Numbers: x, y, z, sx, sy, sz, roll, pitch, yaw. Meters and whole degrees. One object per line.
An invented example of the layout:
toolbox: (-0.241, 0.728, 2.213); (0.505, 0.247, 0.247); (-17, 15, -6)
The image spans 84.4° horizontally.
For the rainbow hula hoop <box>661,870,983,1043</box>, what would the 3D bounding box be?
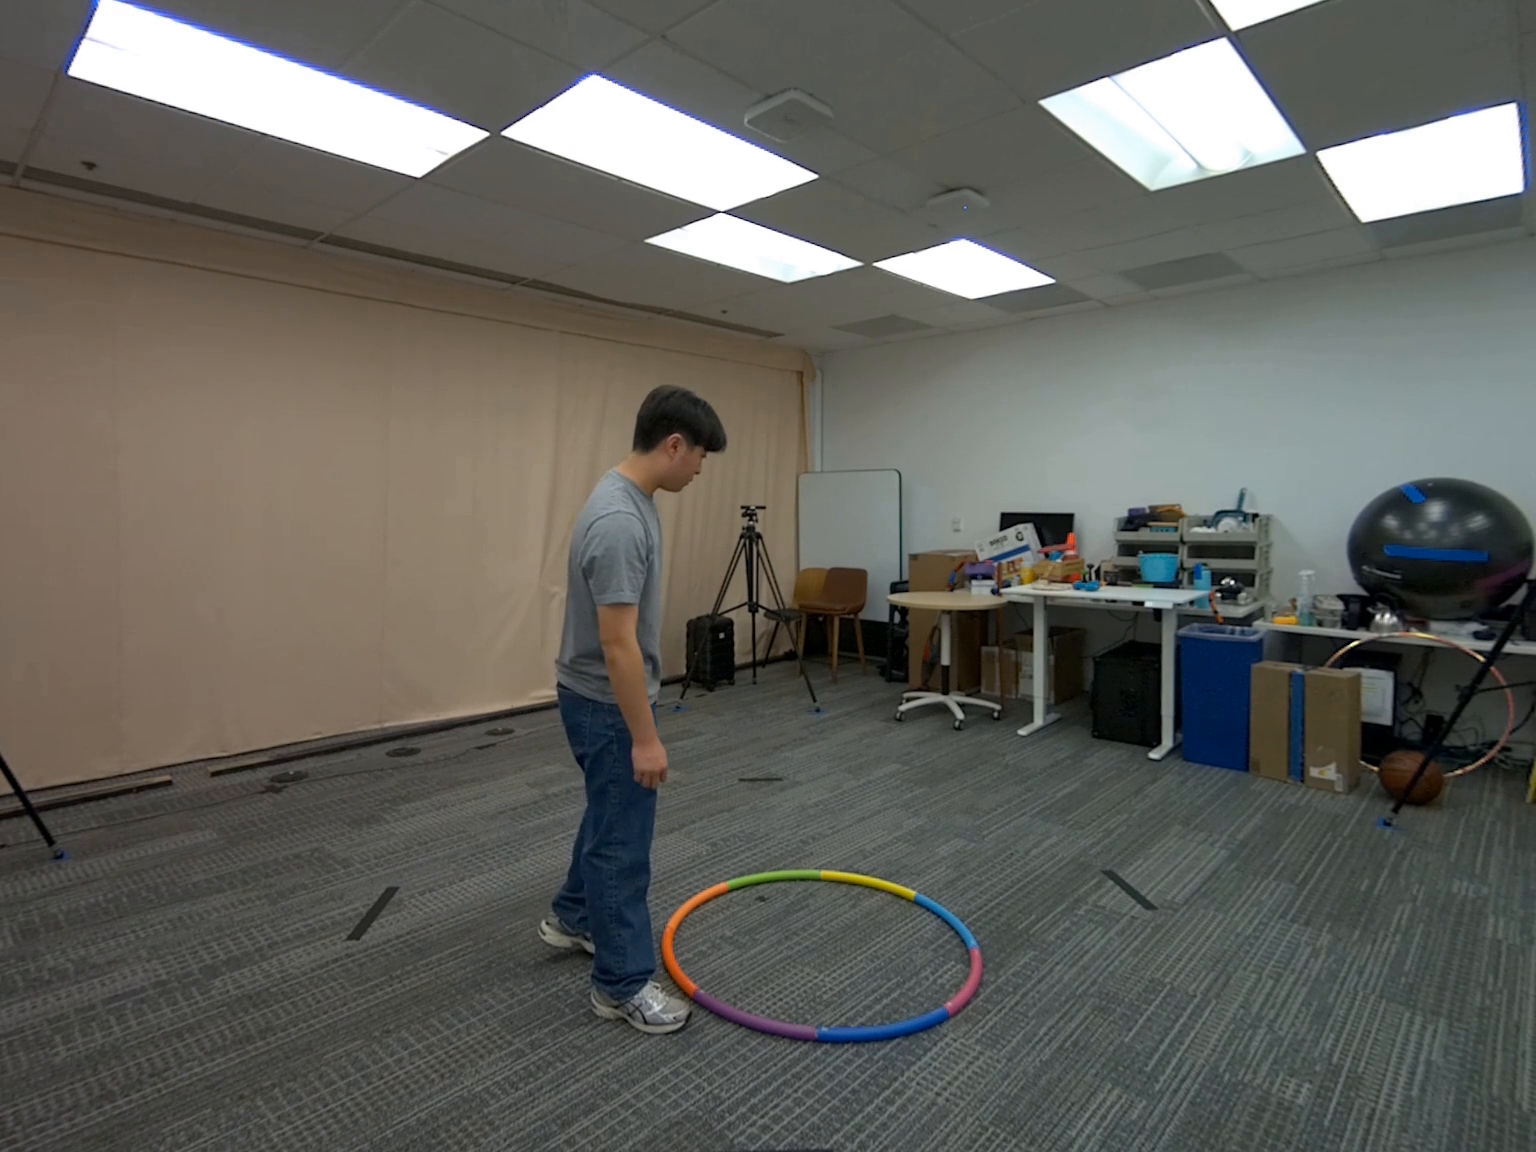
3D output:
rainbow hula hoop: (0.161, 1.142, 2.668); (0.978, 0.035, 0.982); (0, 5, -2)
